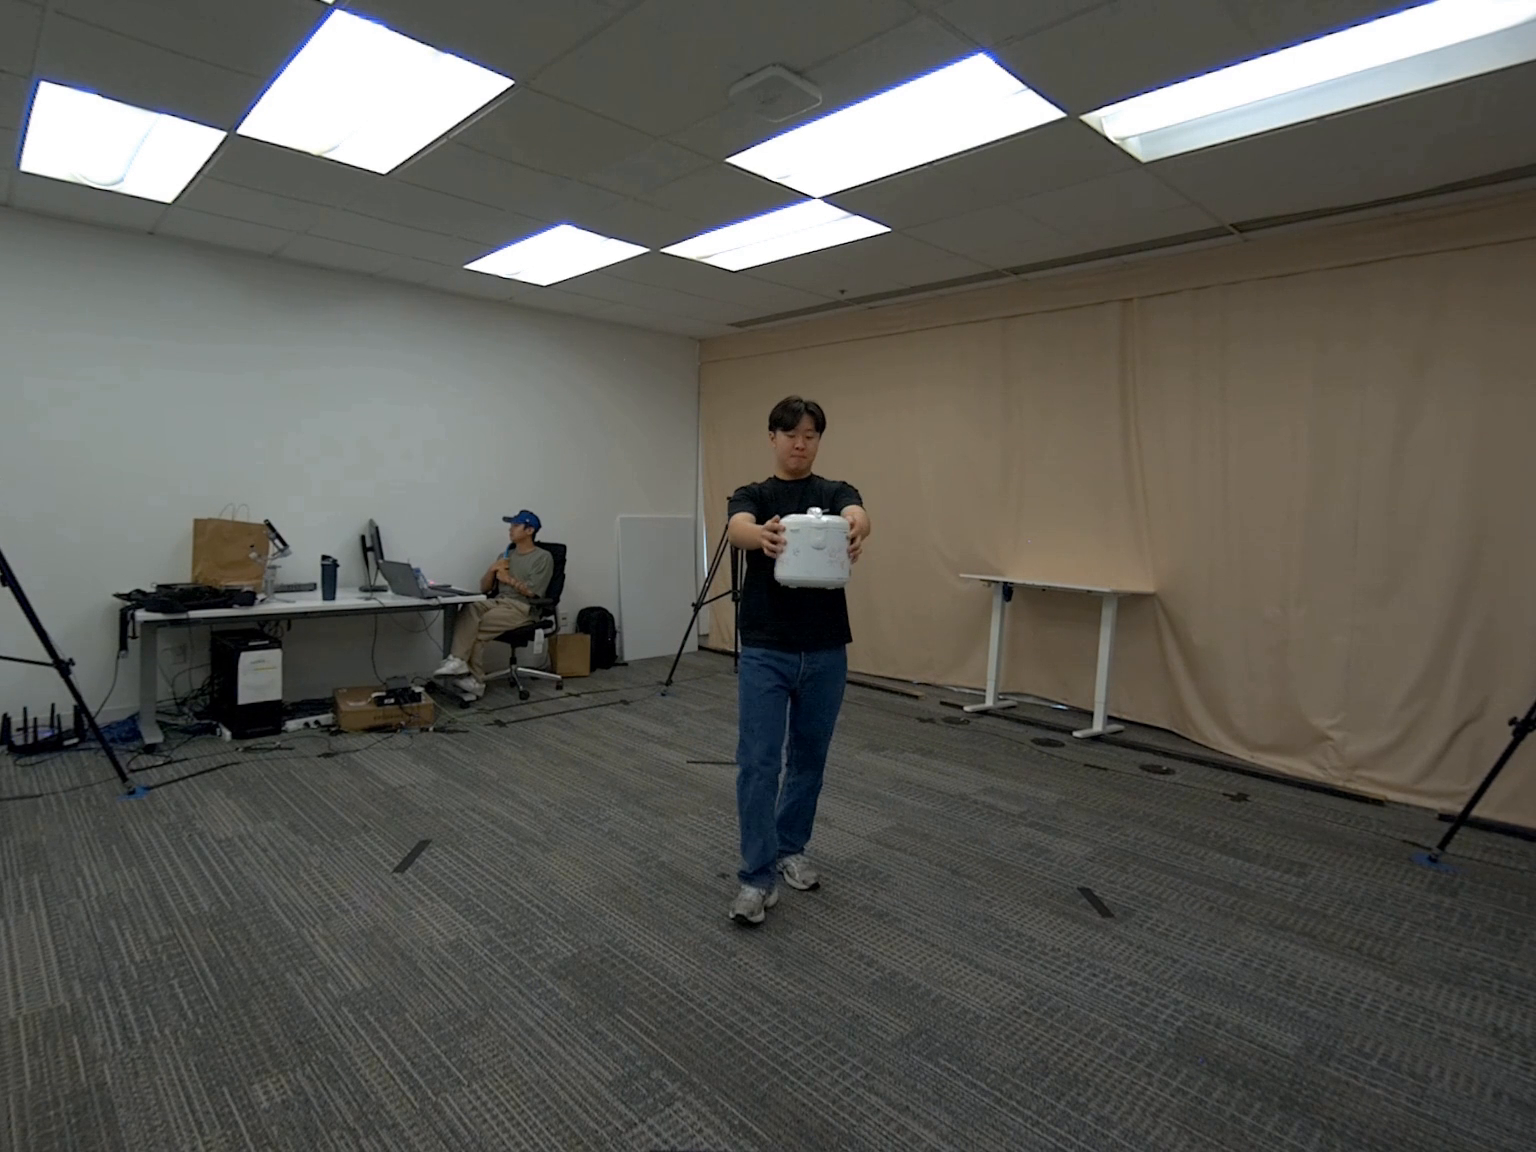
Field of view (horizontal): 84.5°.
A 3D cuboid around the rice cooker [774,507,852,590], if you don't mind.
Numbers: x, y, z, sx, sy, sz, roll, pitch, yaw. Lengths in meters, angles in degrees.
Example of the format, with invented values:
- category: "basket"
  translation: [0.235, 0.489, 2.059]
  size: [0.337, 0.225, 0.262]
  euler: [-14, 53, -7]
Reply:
- category: "rice cooker"
  translation: [0.126, -0.078, 2.431]
  size: [0.217, 0.233, 0.221]
  euler: [2, 0, -3]
